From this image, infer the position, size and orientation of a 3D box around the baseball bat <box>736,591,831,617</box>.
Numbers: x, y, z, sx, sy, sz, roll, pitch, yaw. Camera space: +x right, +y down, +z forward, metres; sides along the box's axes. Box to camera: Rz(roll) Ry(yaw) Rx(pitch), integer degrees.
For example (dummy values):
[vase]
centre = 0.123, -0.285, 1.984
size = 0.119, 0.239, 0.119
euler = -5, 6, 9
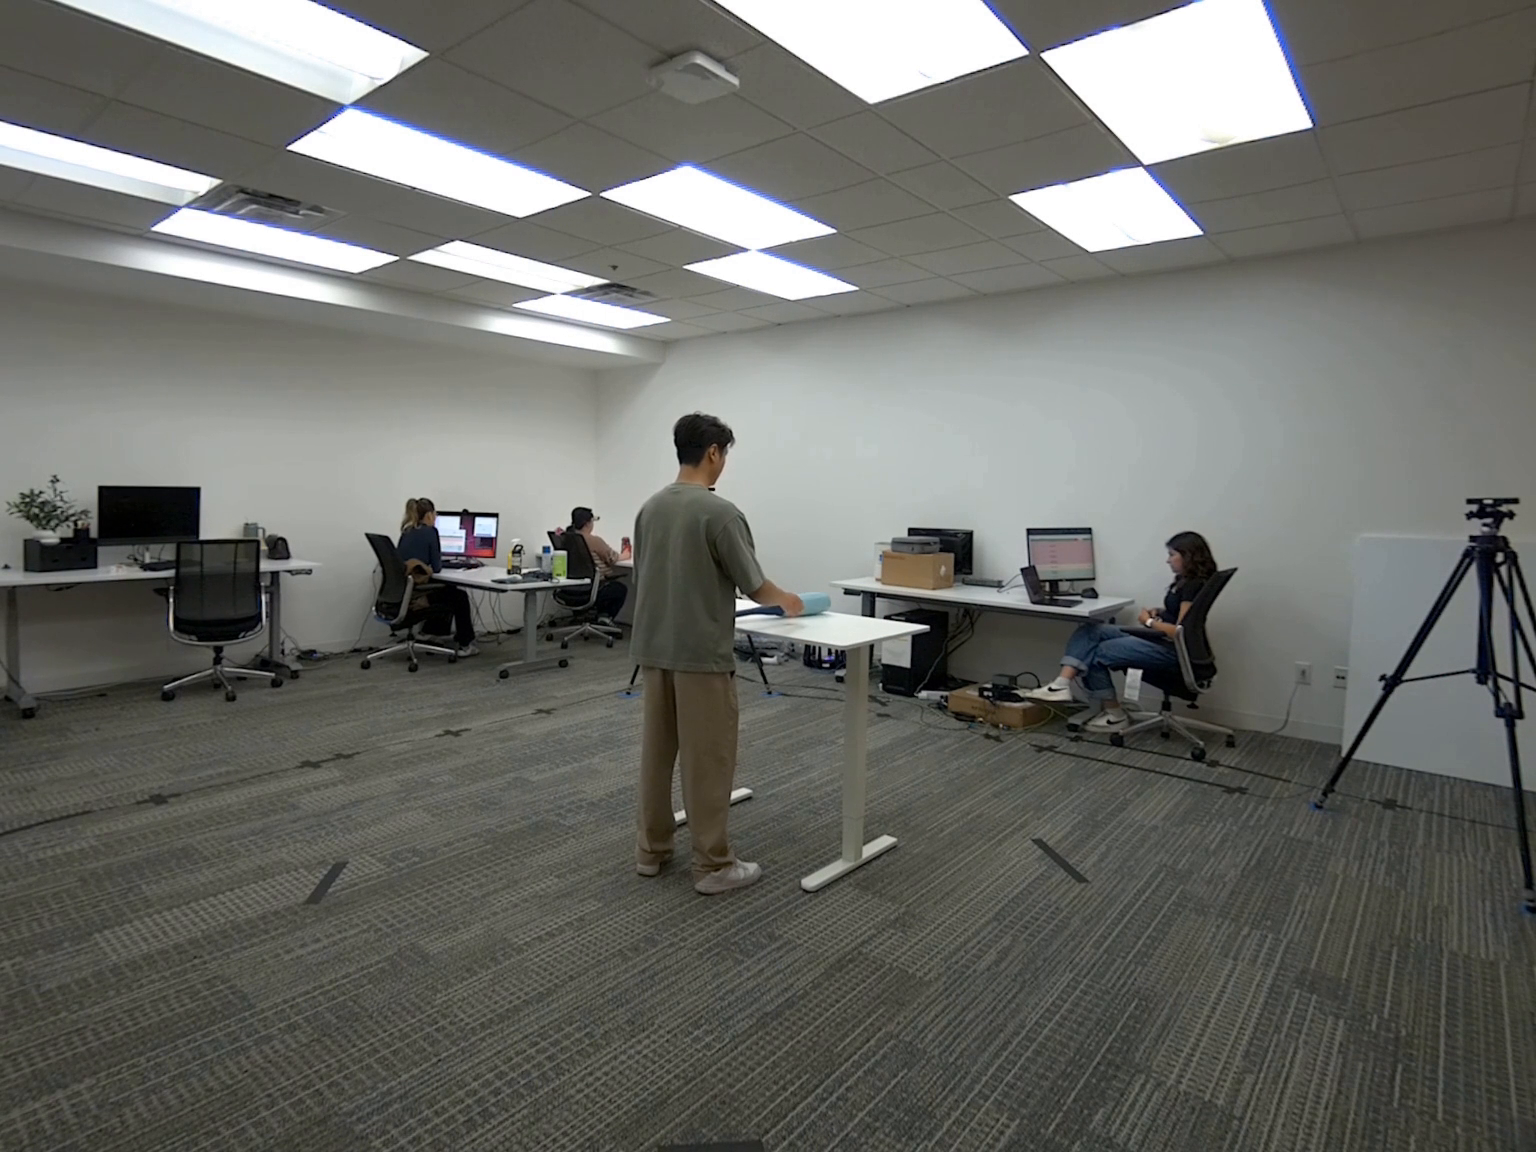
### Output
[baseball bat]
centre = 0.018, 0.130, 3.359
size = 0.529, 0.088, 0.092
euler = -8, 9, -35
